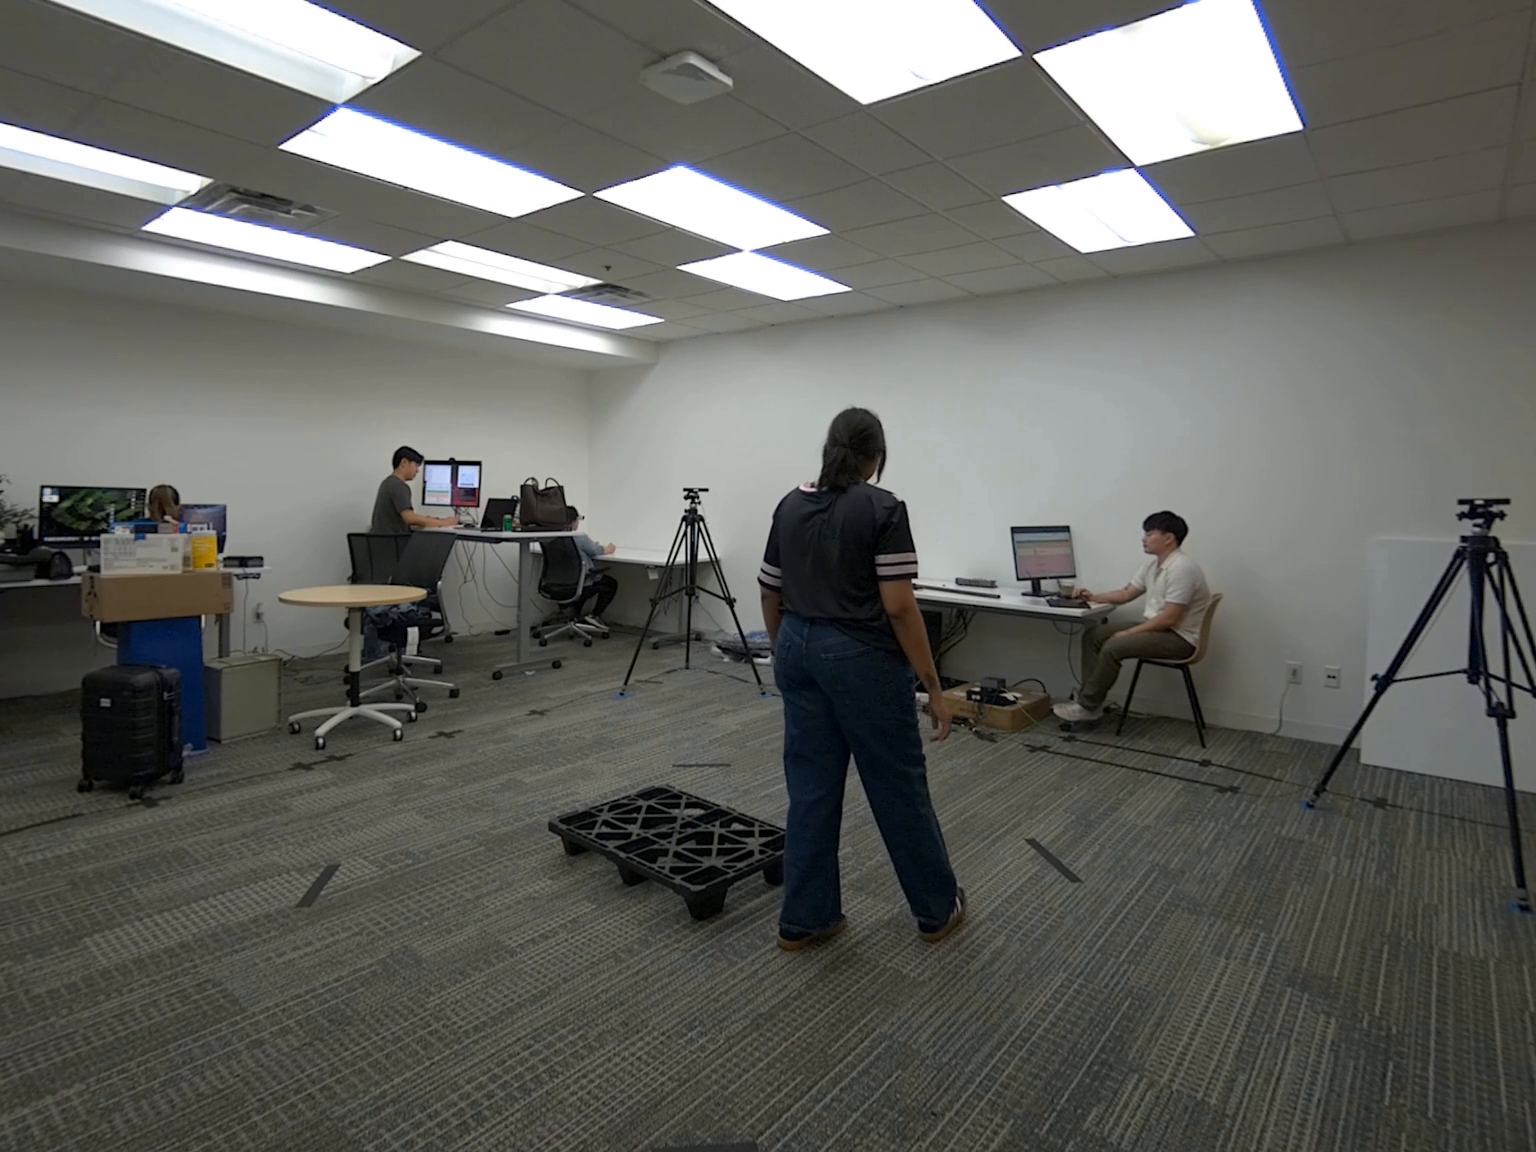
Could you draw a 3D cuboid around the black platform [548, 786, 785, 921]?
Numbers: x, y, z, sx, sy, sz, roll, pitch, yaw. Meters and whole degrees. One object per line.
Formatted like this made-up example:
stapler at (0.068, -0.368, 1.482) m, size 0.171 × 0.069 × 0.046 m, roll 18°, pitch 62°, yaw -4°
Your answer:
black platform at (-0.350, 0.998, 3.147) m, size 0.833 × 0.143 × 0.587 m, roll 6°, pitch 7°, yaw 42°
